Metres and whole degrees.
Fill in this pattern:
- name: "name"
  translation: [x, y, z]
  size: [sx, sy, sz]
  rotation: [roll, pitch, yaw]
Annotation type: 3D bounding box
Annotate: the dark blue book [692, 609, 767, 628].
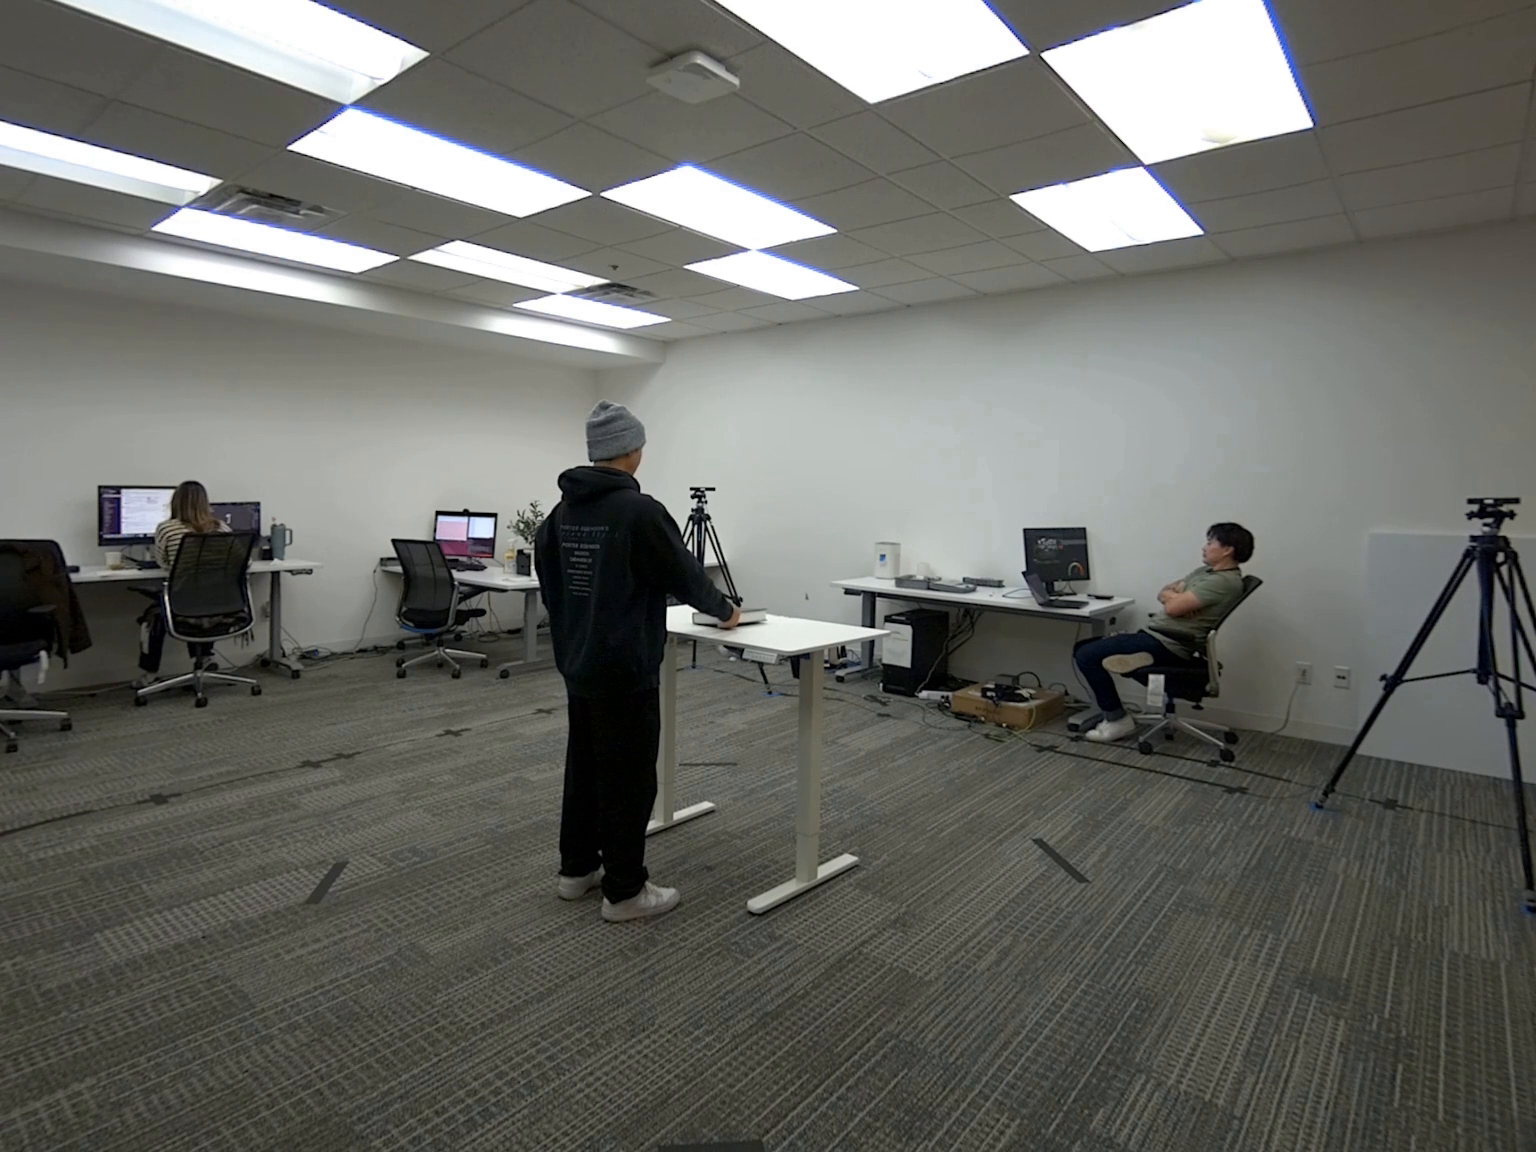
- name: "dark blue book"
  translation: [-0.156, 0.151, 3.206]
  size: [0.168, 0.045, 0.237]
  rotation: [0, 2, 44]
